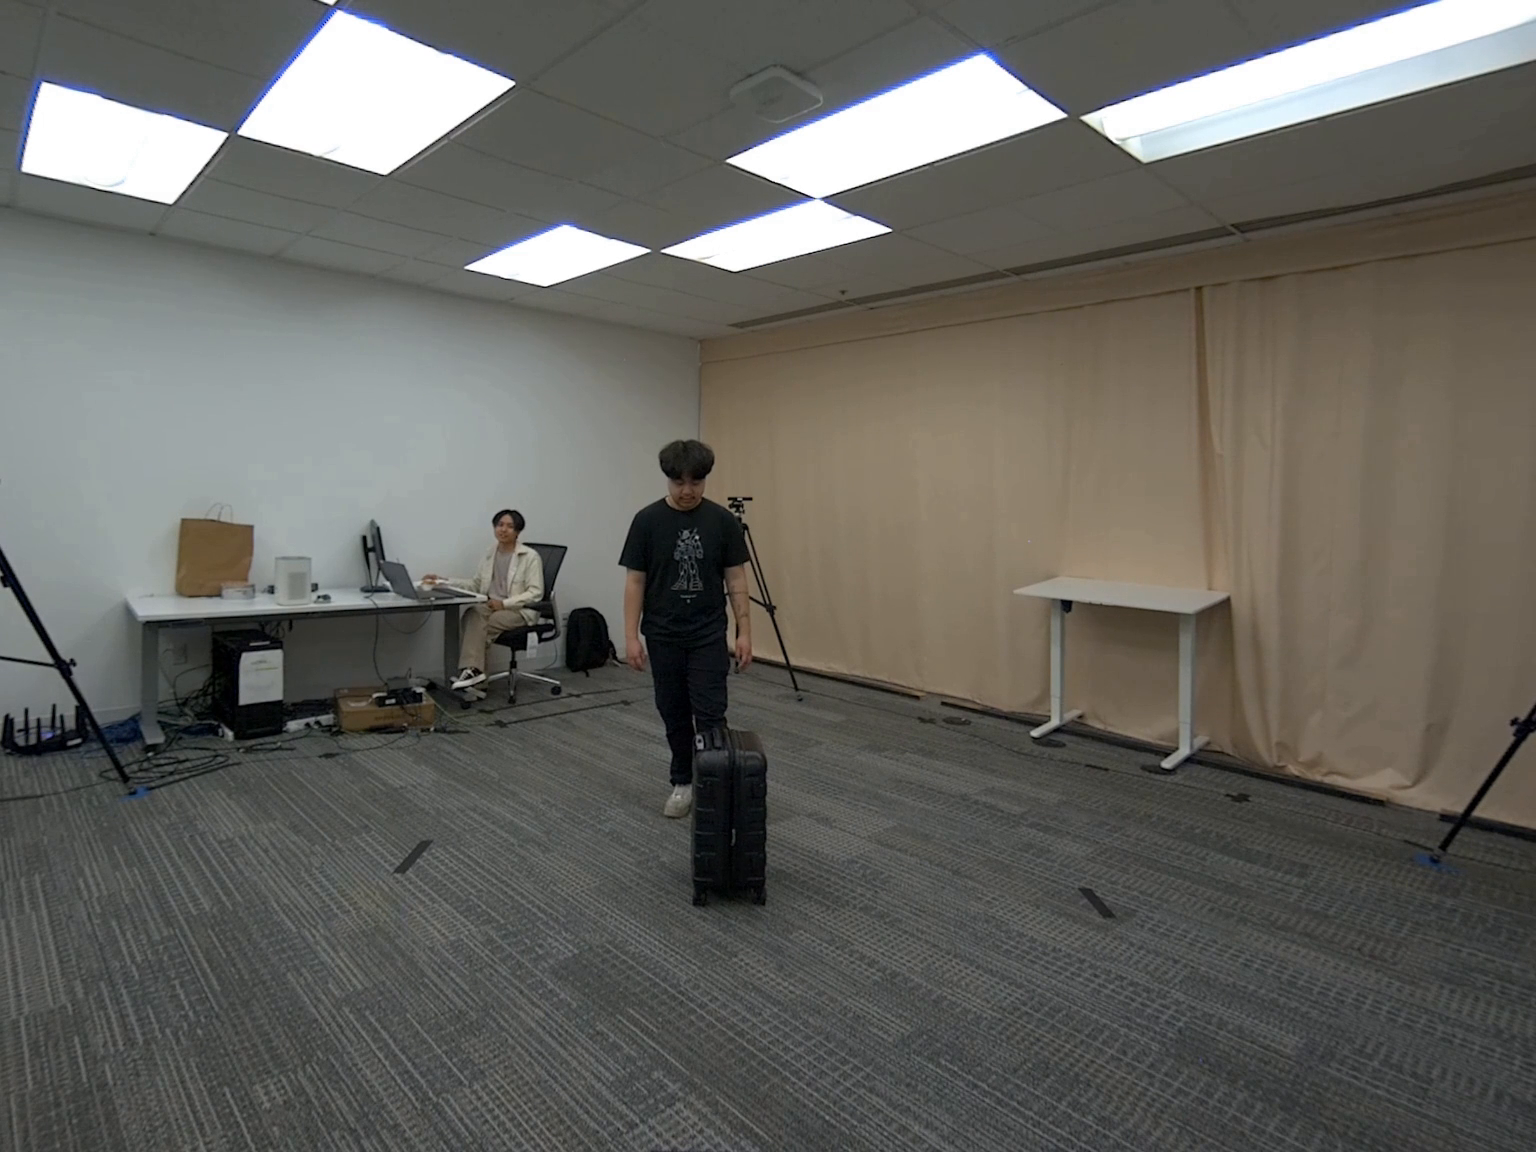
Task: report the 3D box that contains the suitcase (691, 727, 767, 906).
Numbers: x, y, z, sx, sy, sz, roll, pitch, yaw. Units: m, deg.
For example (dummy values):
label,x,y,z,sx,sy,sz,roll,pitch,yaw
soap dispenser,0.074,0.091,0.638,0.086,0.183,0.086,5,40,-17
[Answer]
label,x,y,z,sx,sy,sz,roll,pitch,yaw
suitcase,-0.149,0.839,3.002,0.247,0.548,0.378,1,3,-6
